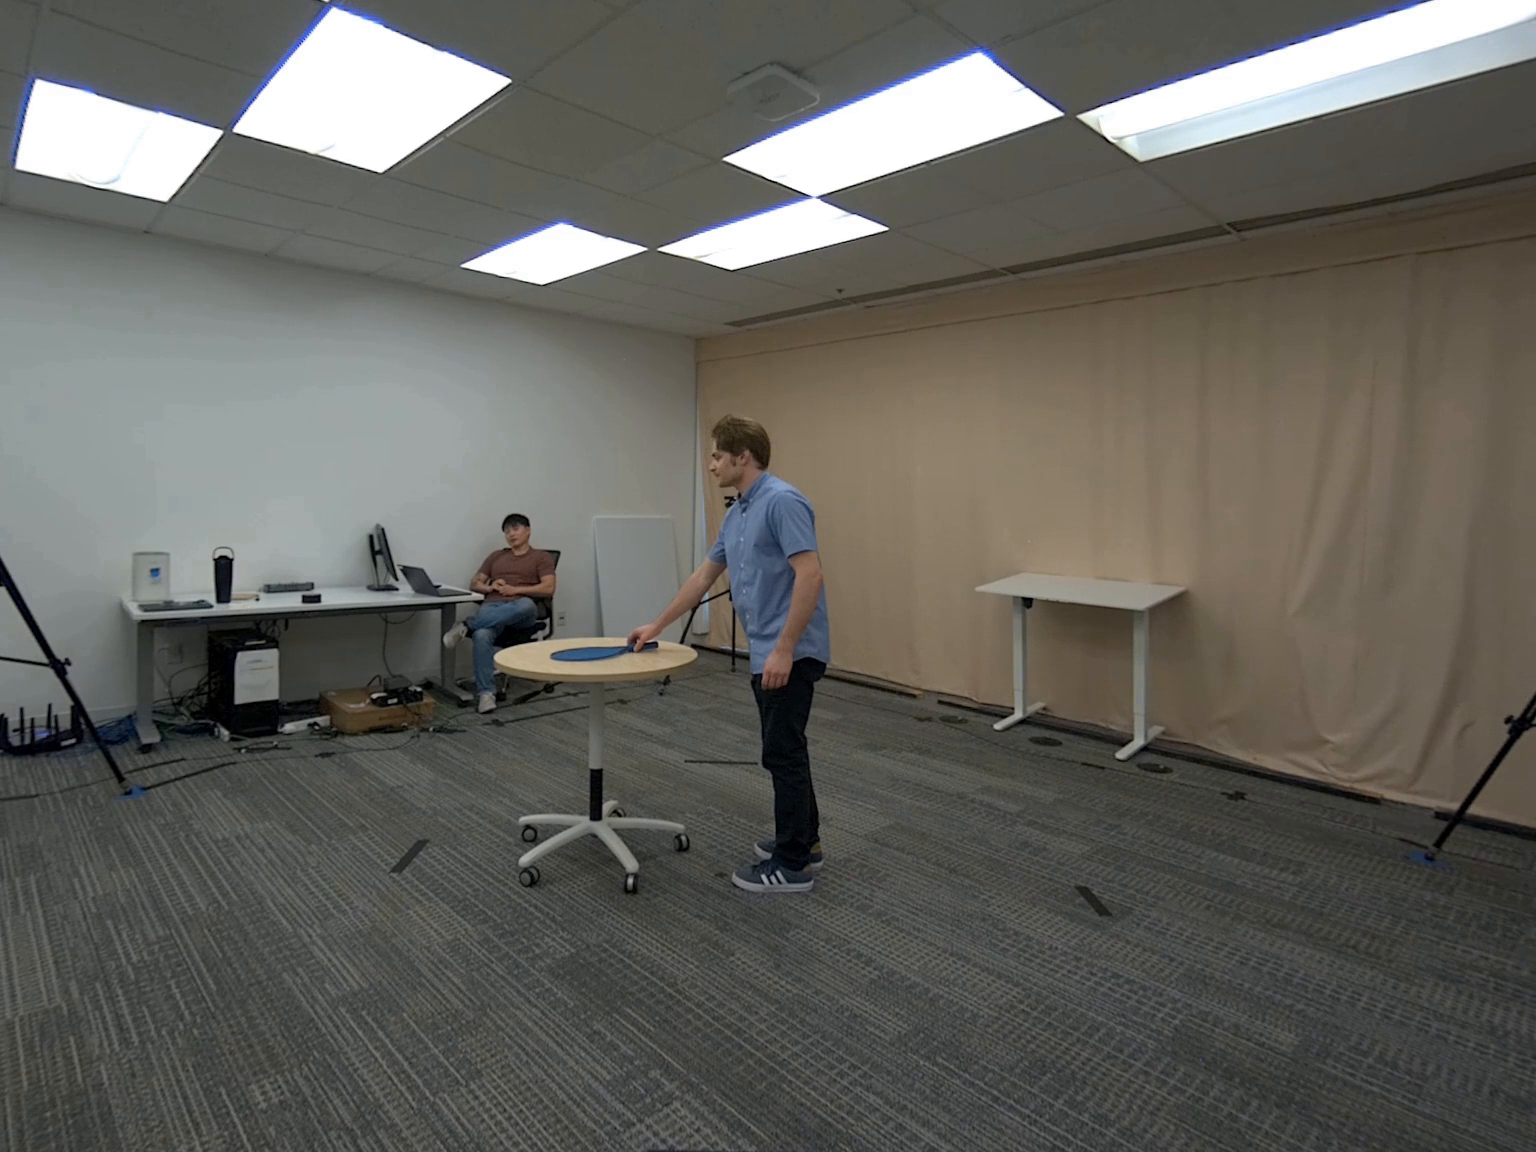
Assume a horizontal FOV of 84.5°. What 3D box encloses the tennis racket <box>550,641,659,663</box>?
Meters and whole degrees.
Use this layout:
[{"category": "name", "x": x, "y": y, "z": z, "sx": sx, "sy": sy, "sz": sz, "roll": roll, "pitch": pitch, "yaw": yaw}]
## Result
[{"category": "tennis racket", "x": -0.628, "y": 0.288, "z": 3.215, "sx": 0.424, "sy": 0.031, "sz": 0.219, "roll": -4, "pitch": 6, "yaw": -32}]
